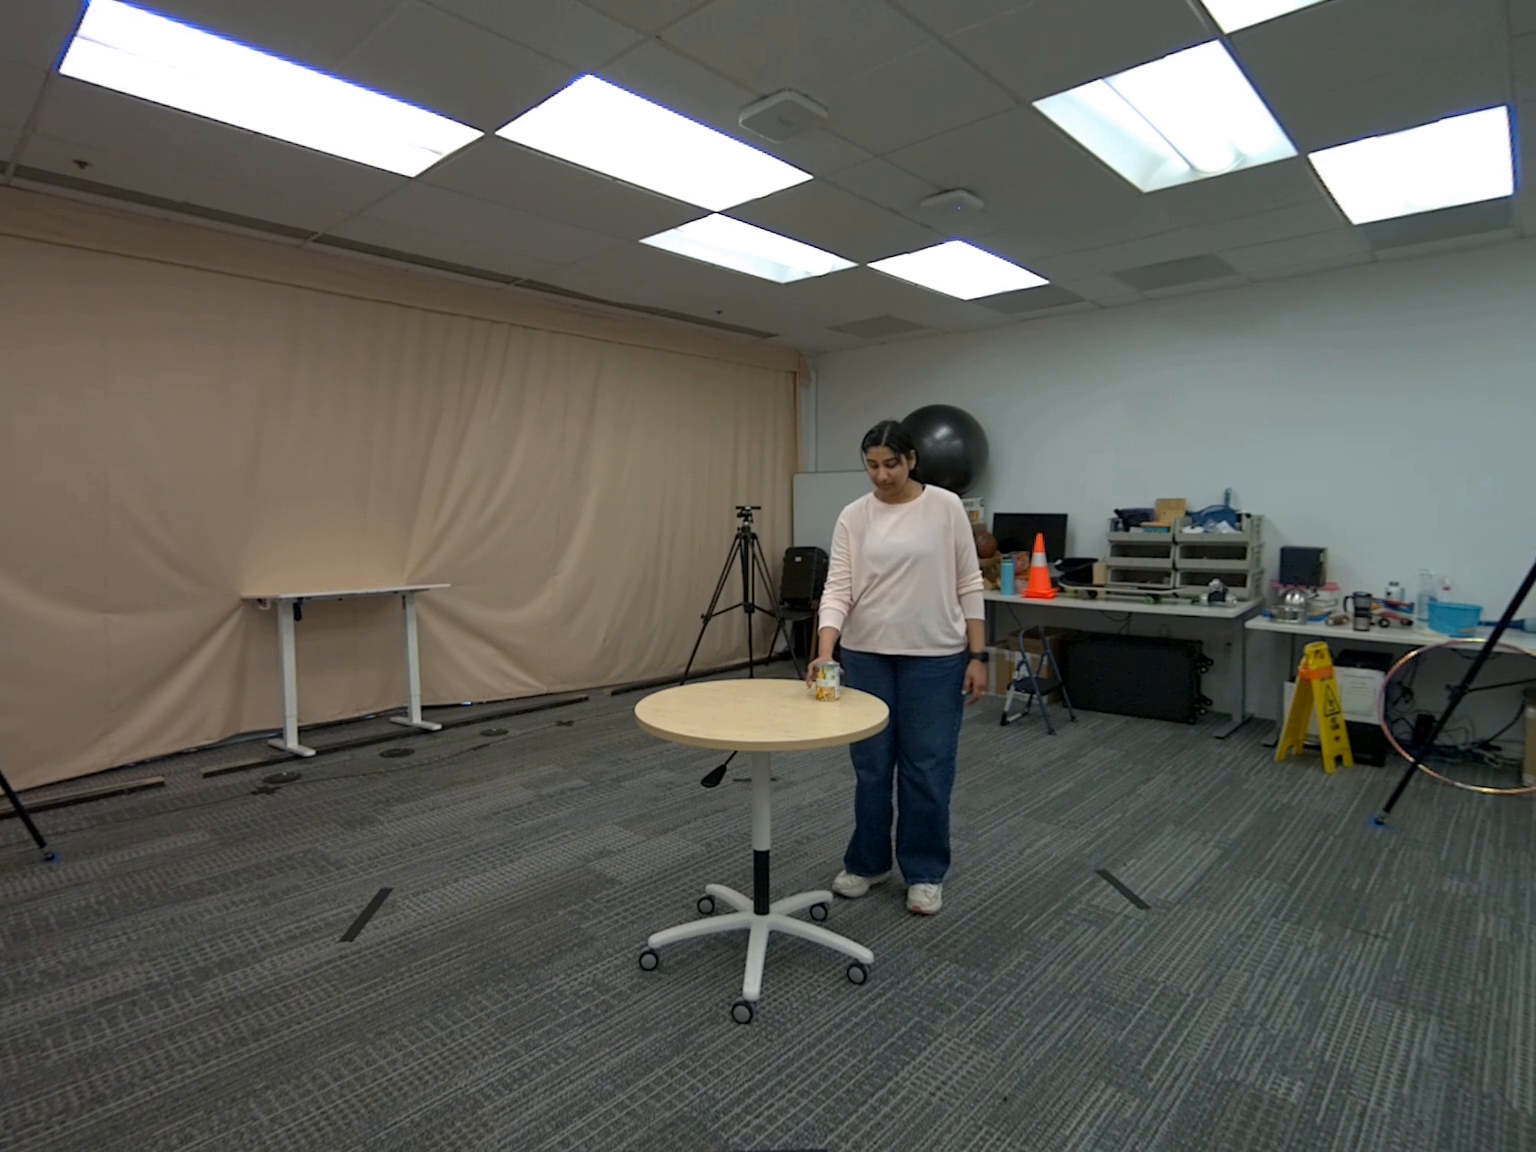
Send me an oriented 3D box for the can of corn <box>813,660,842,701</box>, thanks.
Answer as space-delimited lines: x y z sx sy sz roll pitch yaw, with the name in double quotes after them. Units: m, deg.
0.186 0.331 2.636 0.074 0.111 0.074 0 3 -2 "can of corn"
